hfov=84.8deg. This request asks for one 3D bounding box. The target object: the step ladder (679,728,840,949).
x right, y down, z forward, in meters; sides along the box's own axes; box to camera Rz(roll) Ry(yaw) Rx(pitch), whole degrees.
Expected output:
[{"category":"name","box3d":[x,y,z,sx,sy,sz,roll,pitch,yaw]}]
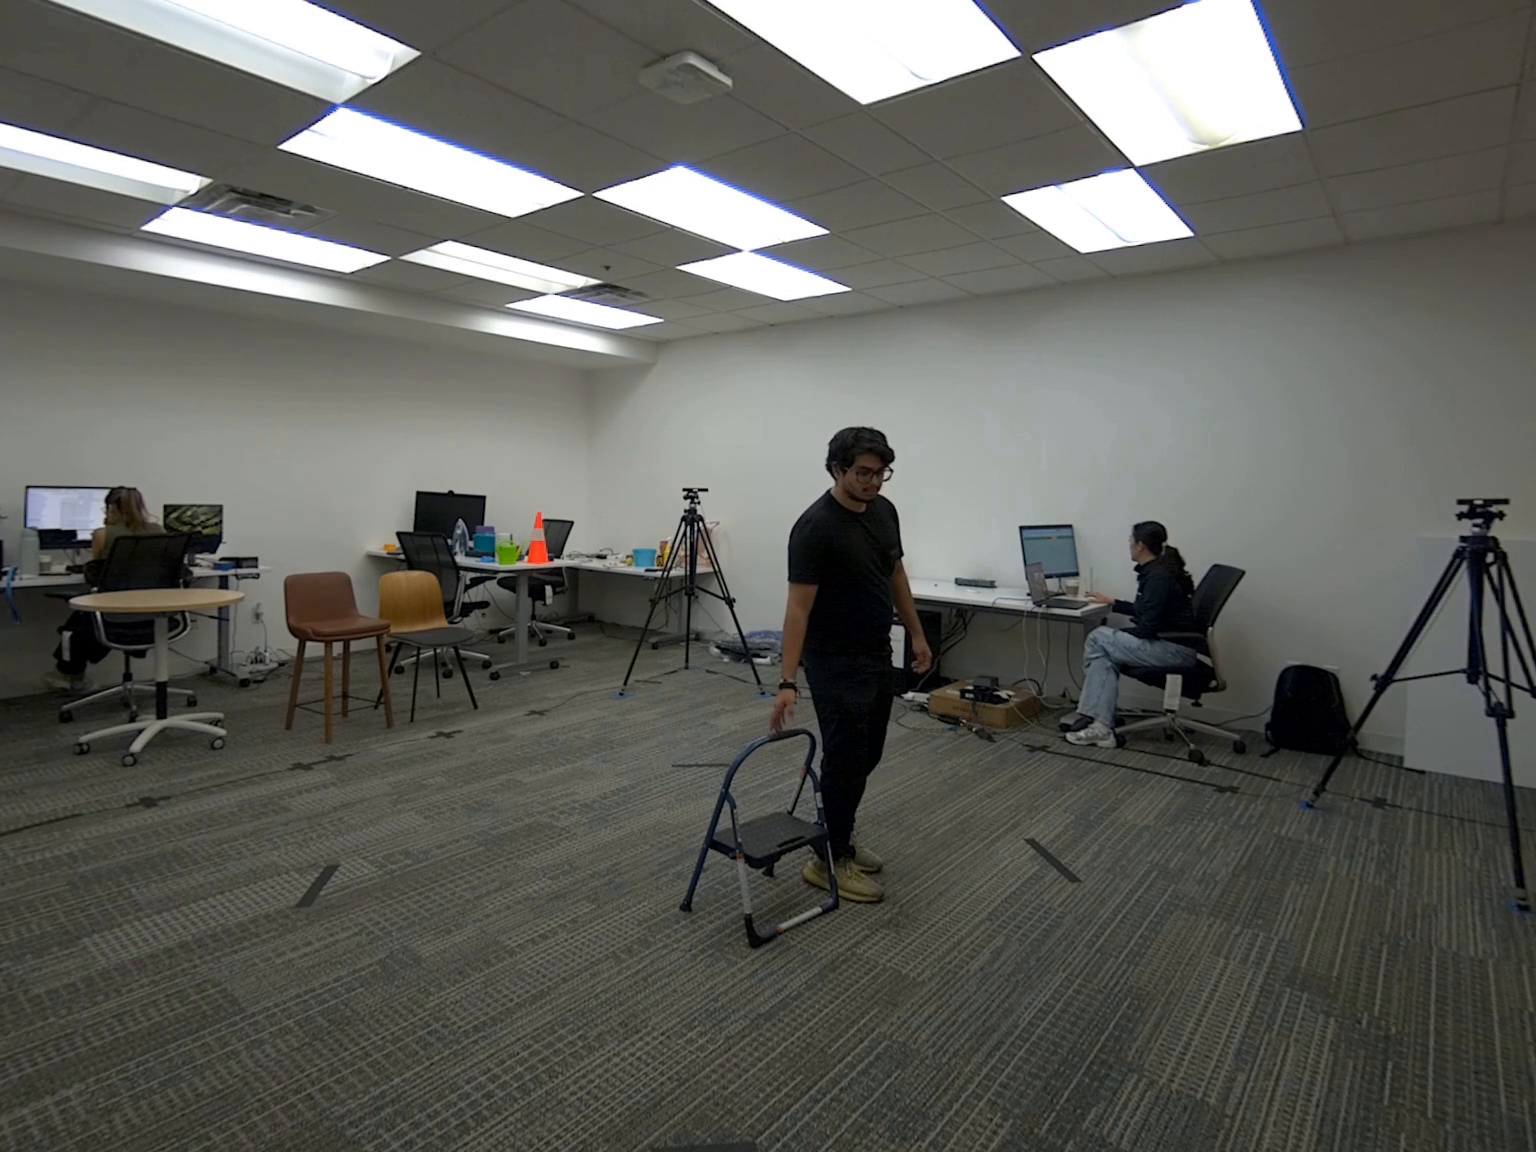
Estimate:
[{"category":"step ladder","box3d":[-0.026,0.798,2.816,0.361,0.604,0.417,4,4,45]}]
